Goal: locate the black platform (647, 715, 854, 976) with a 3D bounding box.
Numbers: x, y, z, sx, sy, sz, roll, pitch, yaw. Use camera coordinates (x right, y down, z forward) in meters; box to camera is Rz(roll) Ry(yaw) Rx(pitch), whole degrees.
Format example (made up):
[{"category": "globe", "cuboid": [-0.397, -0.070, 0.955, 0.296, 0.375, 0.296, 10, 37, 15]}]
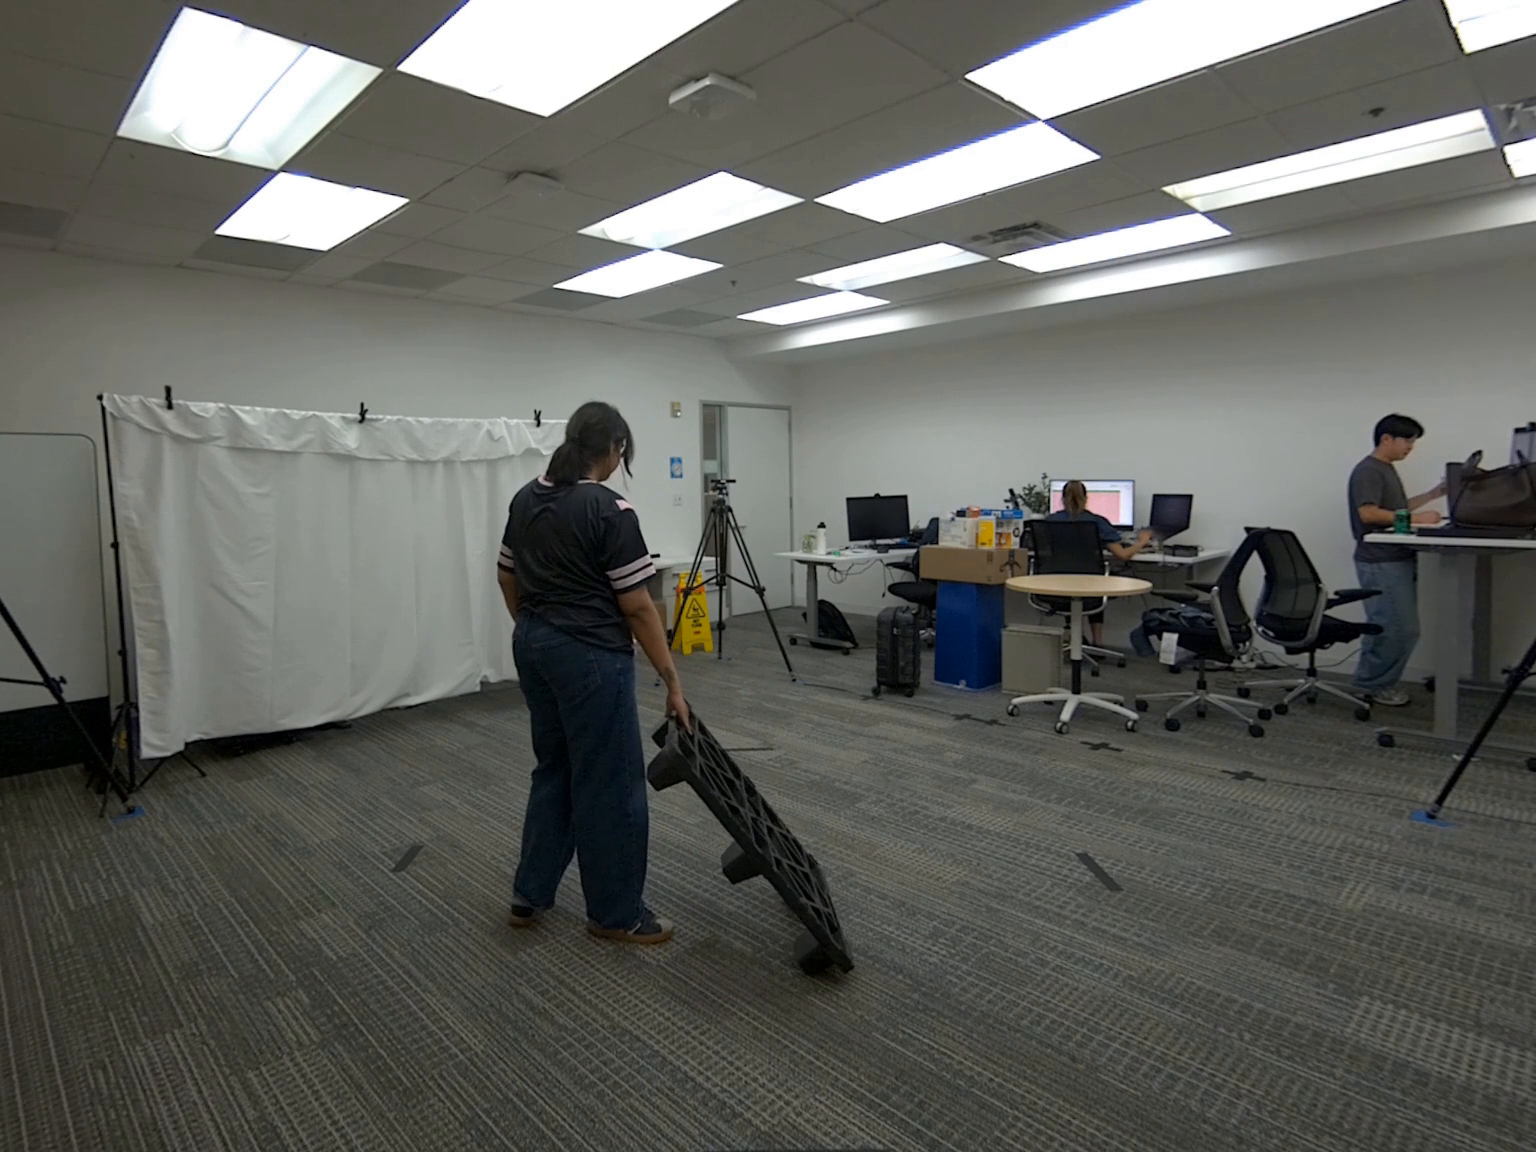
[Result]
[{"category": "black platform", "cuboid": [-0.083, 0.775, 2.602, 0.143, 0.801, 0.609, -37, 5, 0]}]
